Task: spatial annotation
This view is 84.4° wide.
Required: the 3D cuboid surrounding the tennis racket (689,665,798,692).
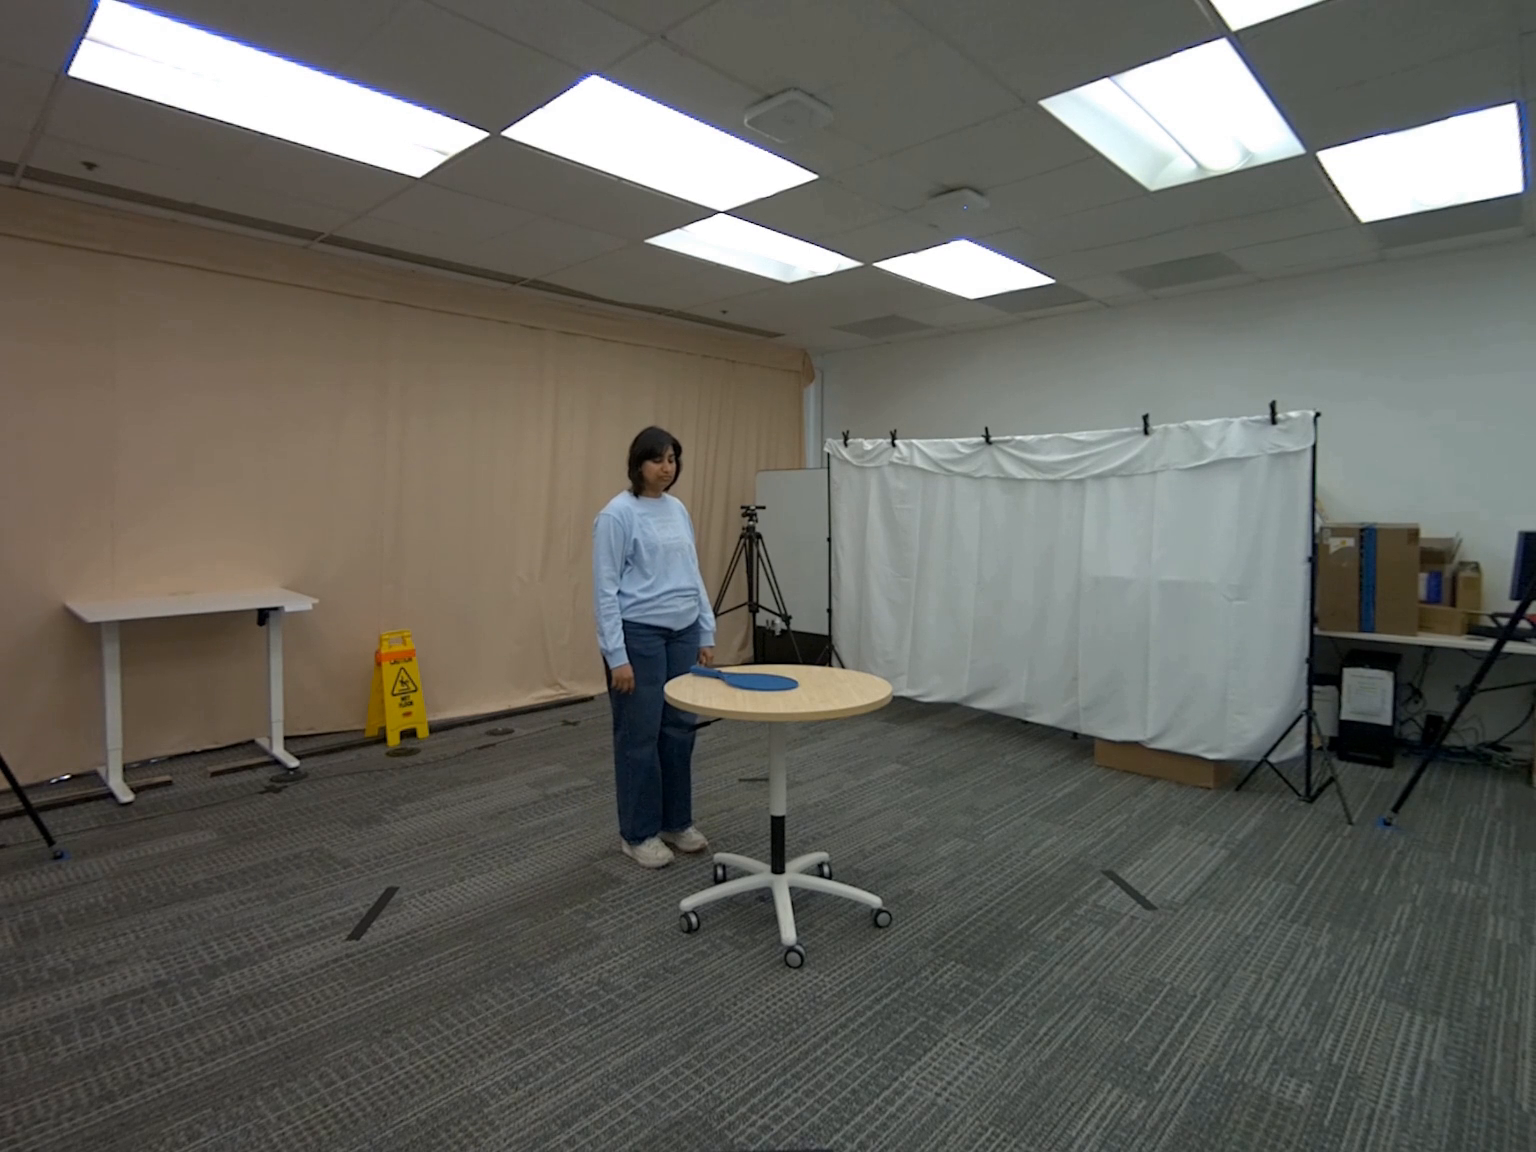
[{"bbox_3d":[-0.088,0.359,2.921,0.447,0.031,0.207,5,6,37],"label":"tennis racket"}]
